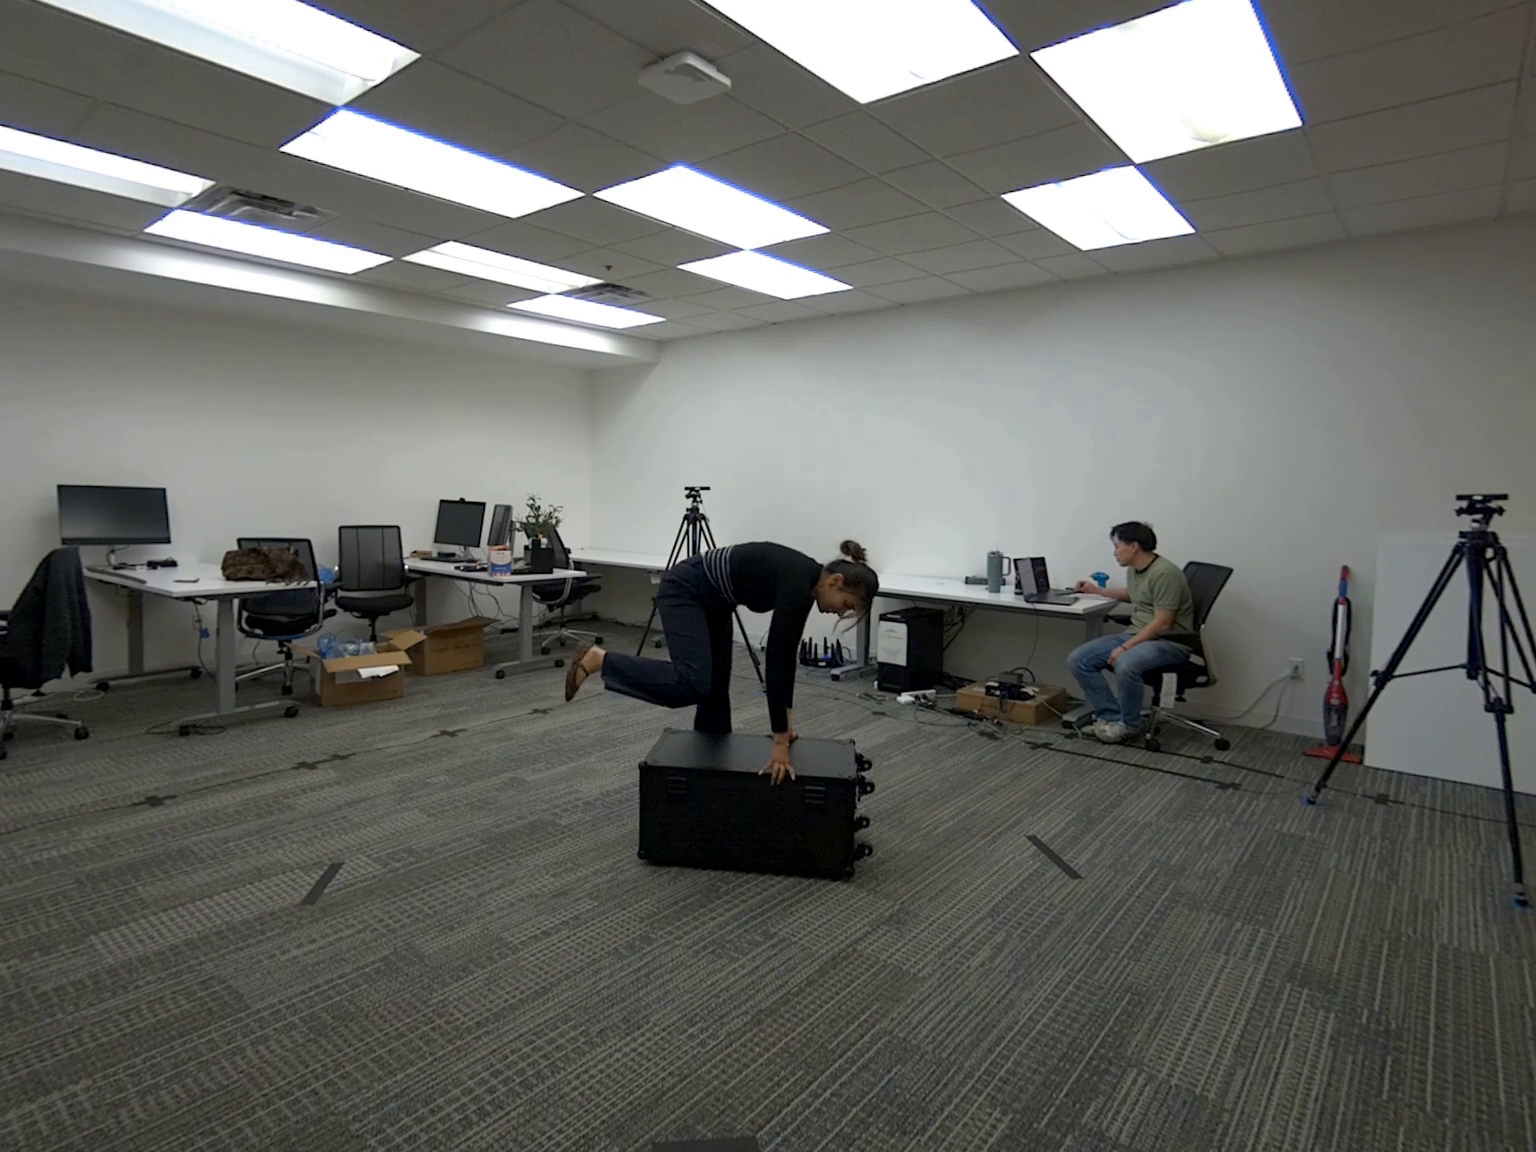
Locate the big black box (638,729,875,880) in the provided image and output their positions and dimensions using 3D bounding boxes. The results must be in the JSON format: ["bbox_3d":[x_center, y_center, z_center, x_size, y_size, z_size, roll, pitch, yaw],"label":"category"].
[{"bbox_3d":[-0.038,0.858,3.276,0.869,0.395,0.518,1,4,7],"label":"big black box"}]
